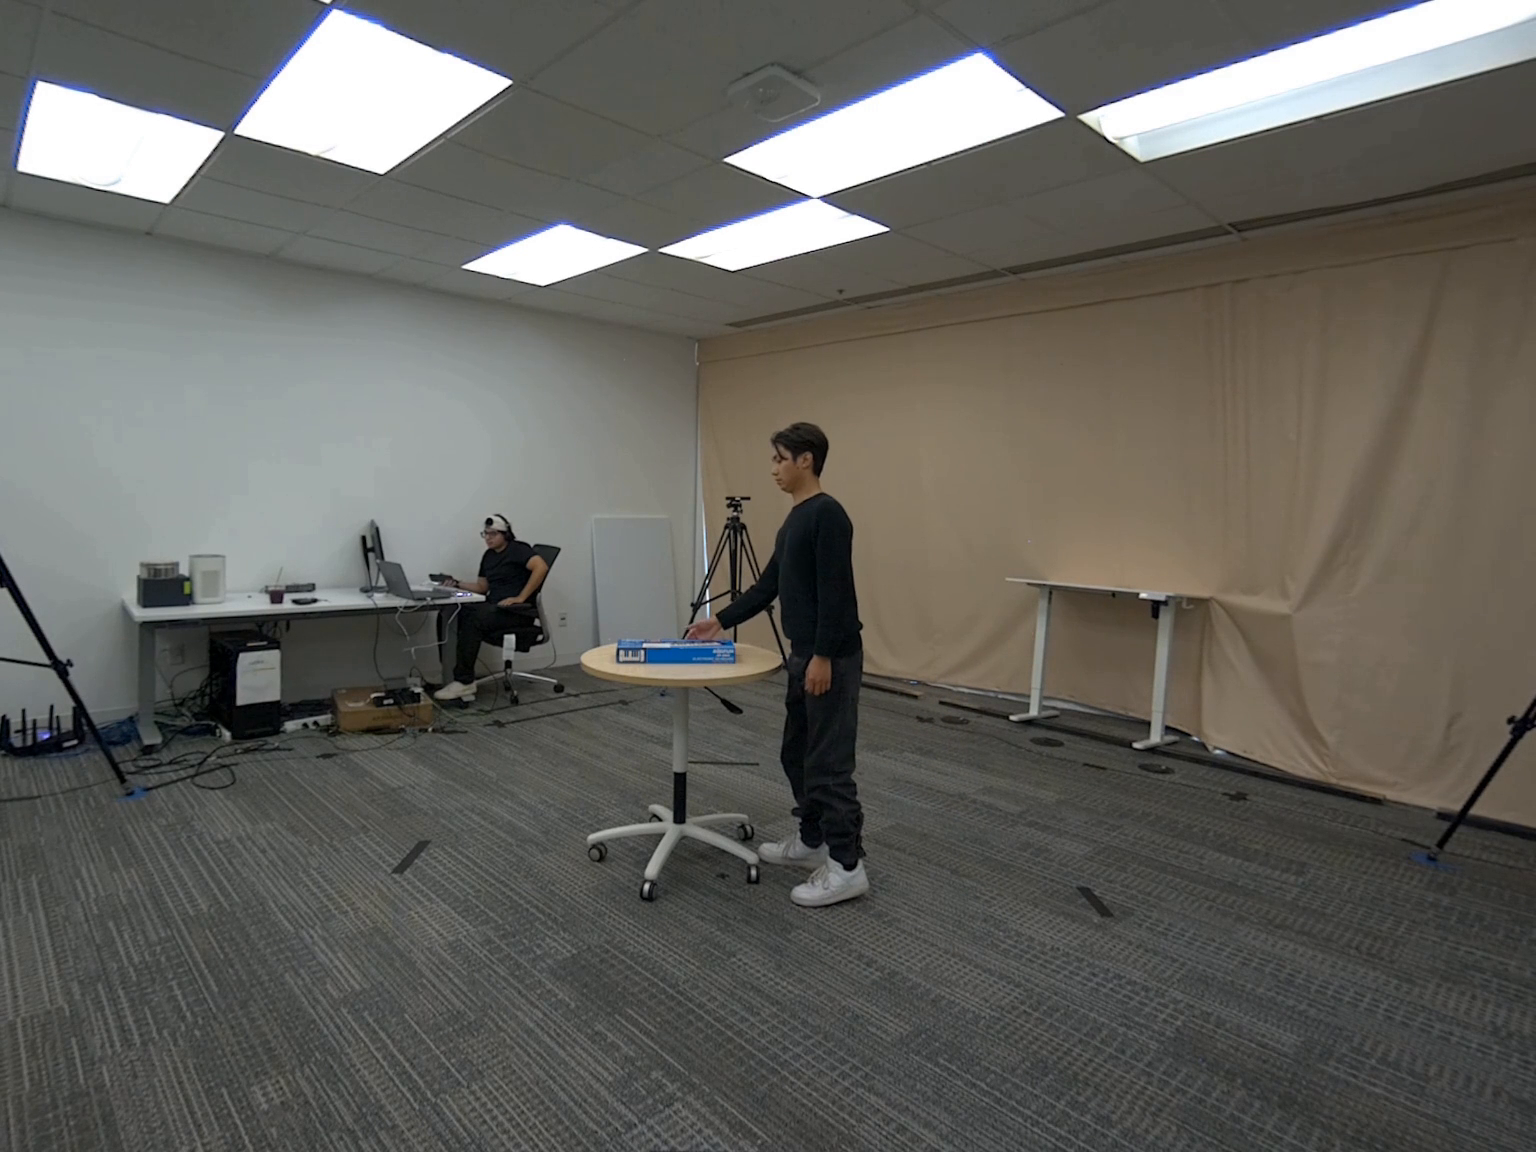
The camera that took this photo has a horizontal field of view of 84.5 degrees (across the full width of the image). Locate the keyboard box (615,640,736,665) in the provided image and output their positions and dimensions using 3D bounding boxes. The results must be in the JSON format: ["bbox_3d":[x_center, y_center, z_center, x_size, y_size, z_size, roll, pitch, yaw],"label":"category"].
[{"bbox_3d":[-0.355,0.282,3.168,0.435,0.059,0.177,0,6,-6],"label":"keyboard box"}]
